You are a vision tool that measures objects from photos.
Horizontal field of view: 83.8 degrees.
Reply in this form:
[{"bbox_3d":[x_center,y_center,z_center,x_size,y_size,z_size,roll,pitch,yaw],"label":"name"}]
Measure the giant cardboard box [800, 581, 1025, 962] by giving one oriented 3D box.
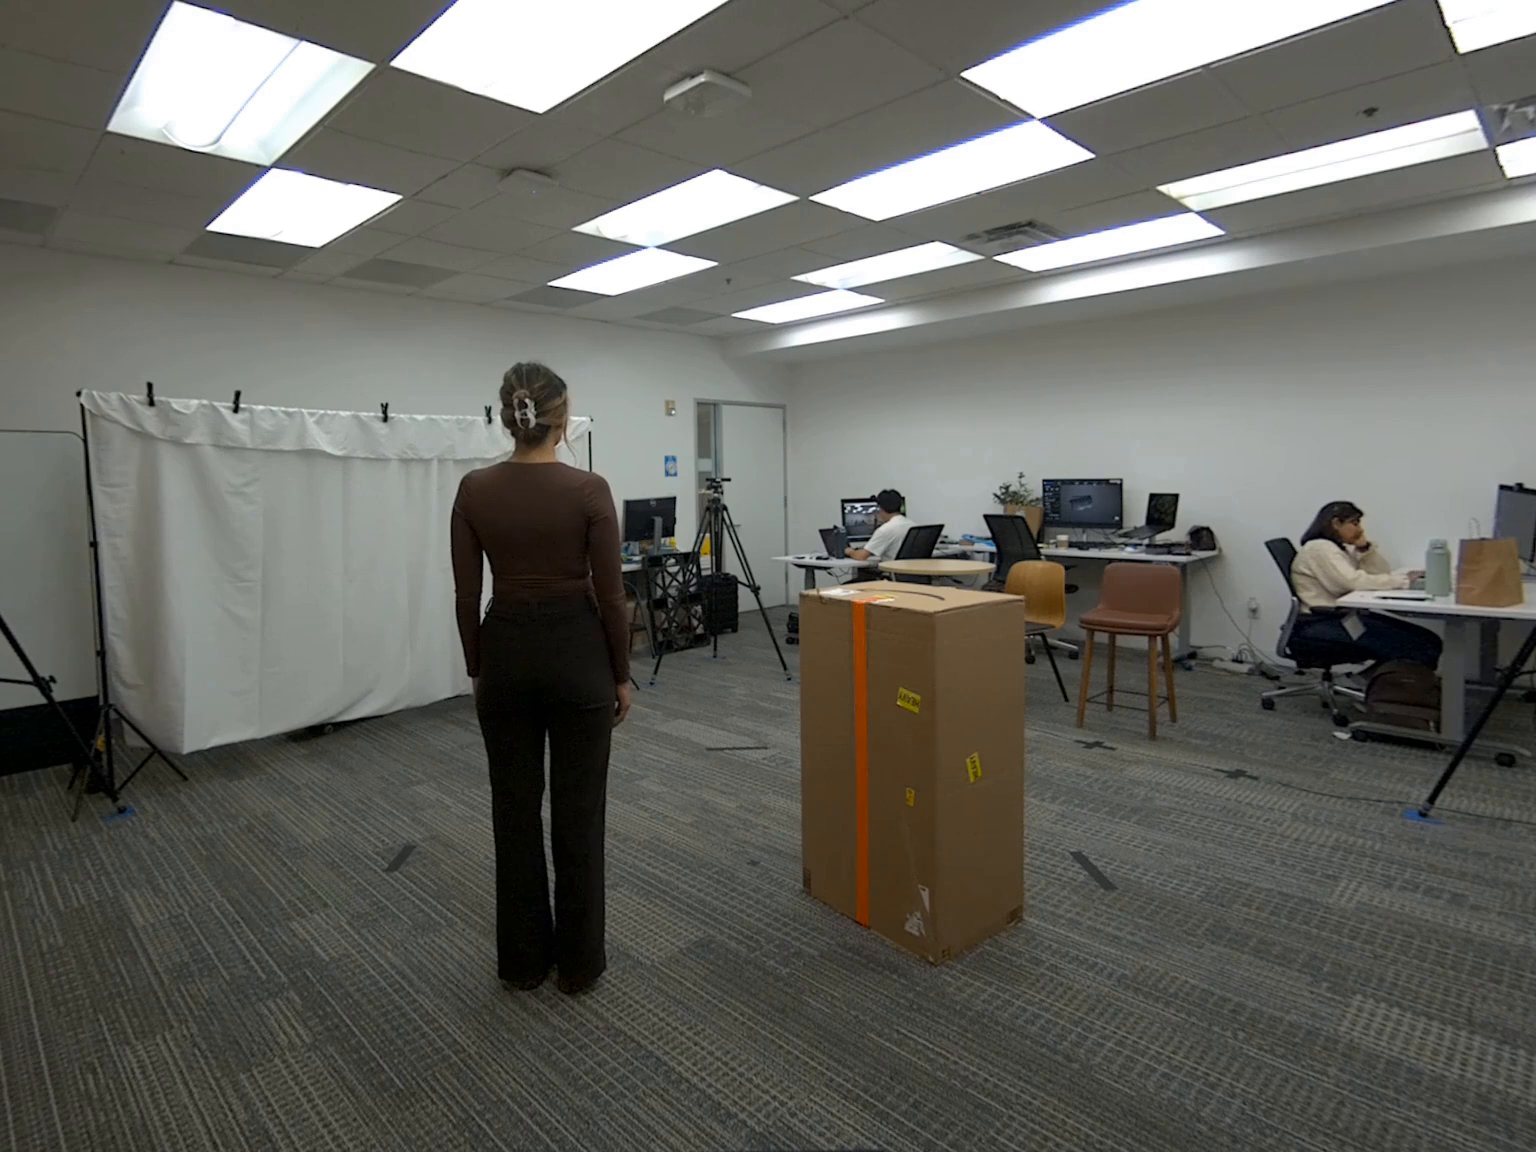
[{"bbox_3d":[0.453,0.564,2.746,0.435,1.023,0.601,-5,6,-36],"label":"giant cardboard box"}]
